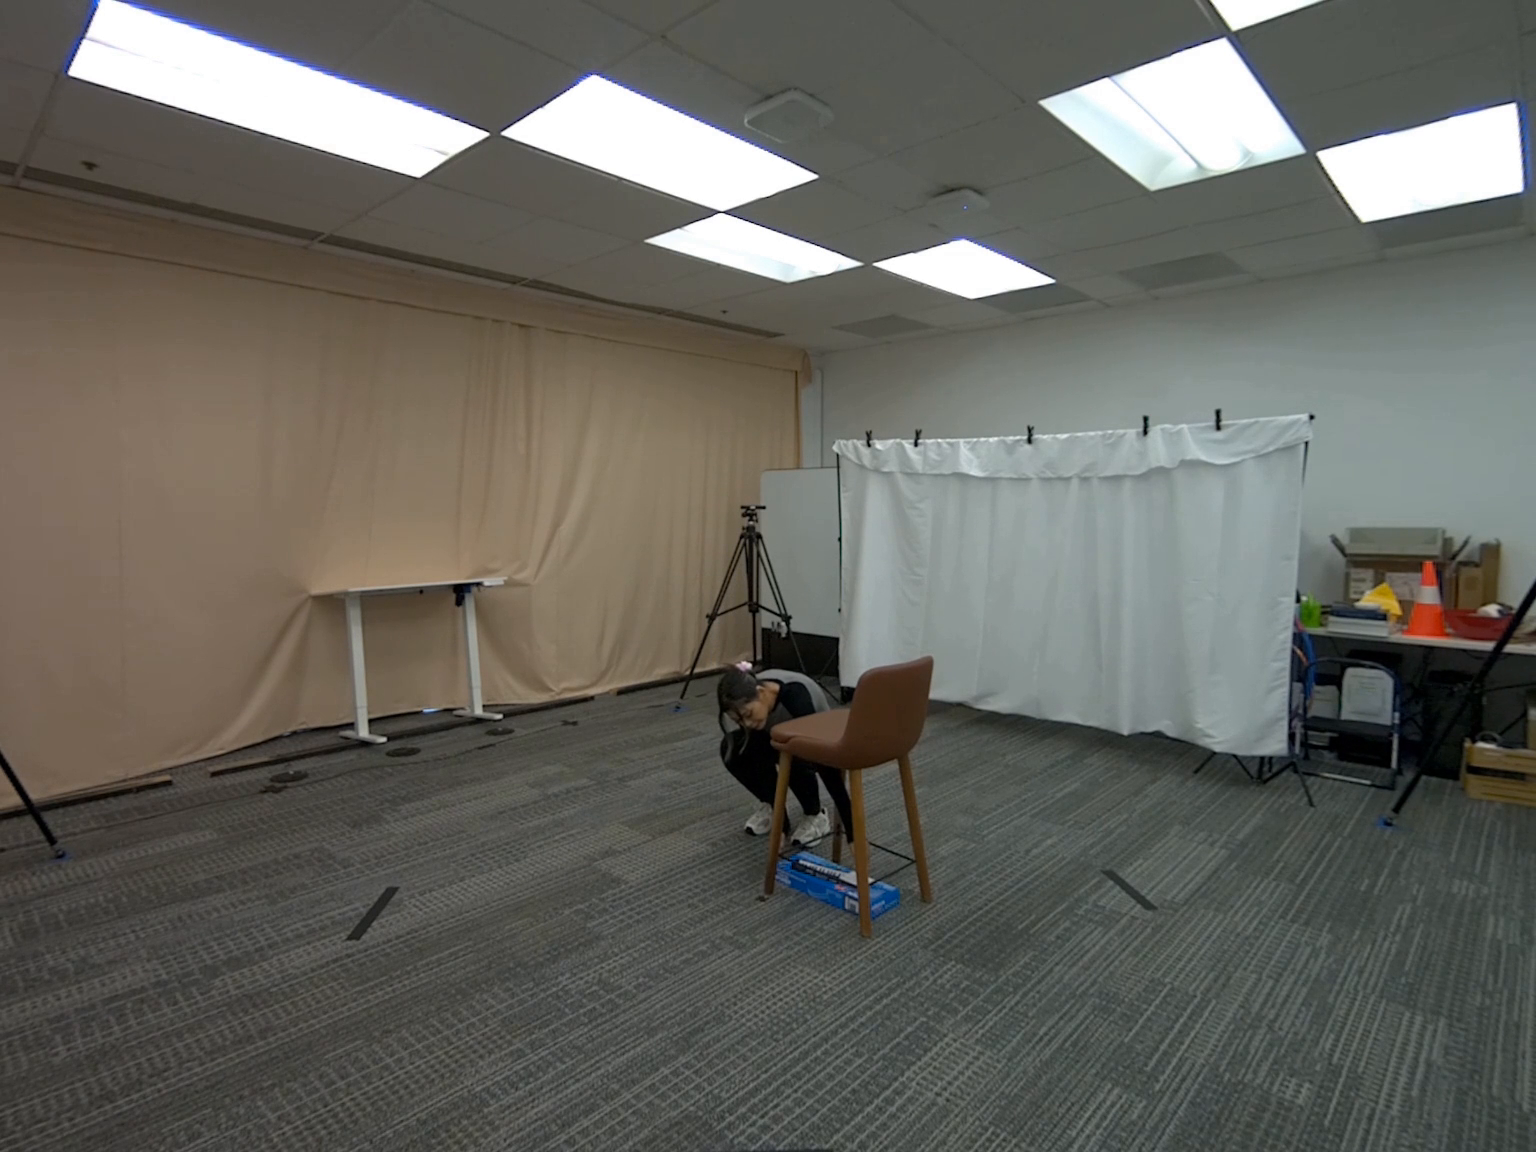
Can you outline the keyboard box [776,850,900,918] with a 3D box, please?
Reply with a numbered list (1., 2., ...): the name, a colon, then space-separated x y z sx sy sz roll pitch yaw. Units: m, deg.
1. keyboard box: 0.242 1.103 3.038 0.170 0.059 0.452 -5 7 -44
